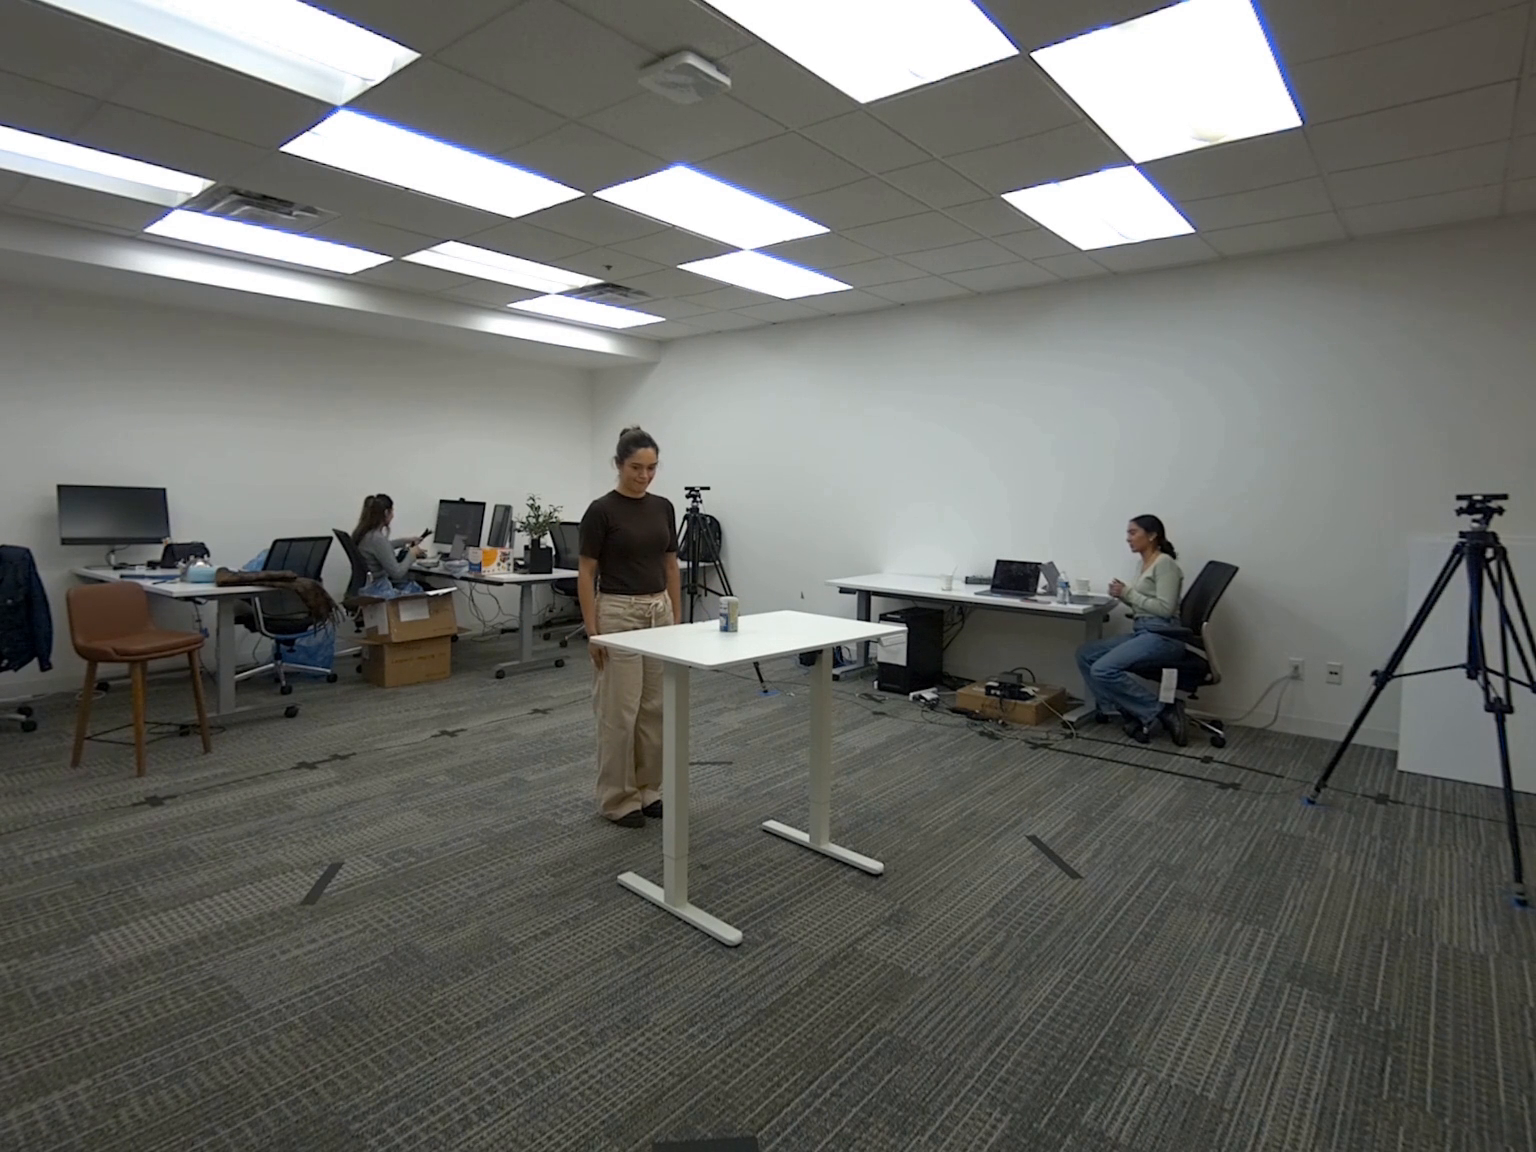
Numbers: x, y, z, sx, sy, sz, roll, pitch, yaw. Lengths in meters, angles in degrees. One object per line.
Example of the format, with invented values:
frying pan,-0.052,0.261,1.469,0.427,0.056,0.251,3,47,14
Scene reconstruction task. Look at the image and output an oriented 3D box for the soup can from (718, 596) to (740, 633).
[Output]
soup can,-0.153,0.133,3.018,0.067,0.121,0.067,2,3,-2
